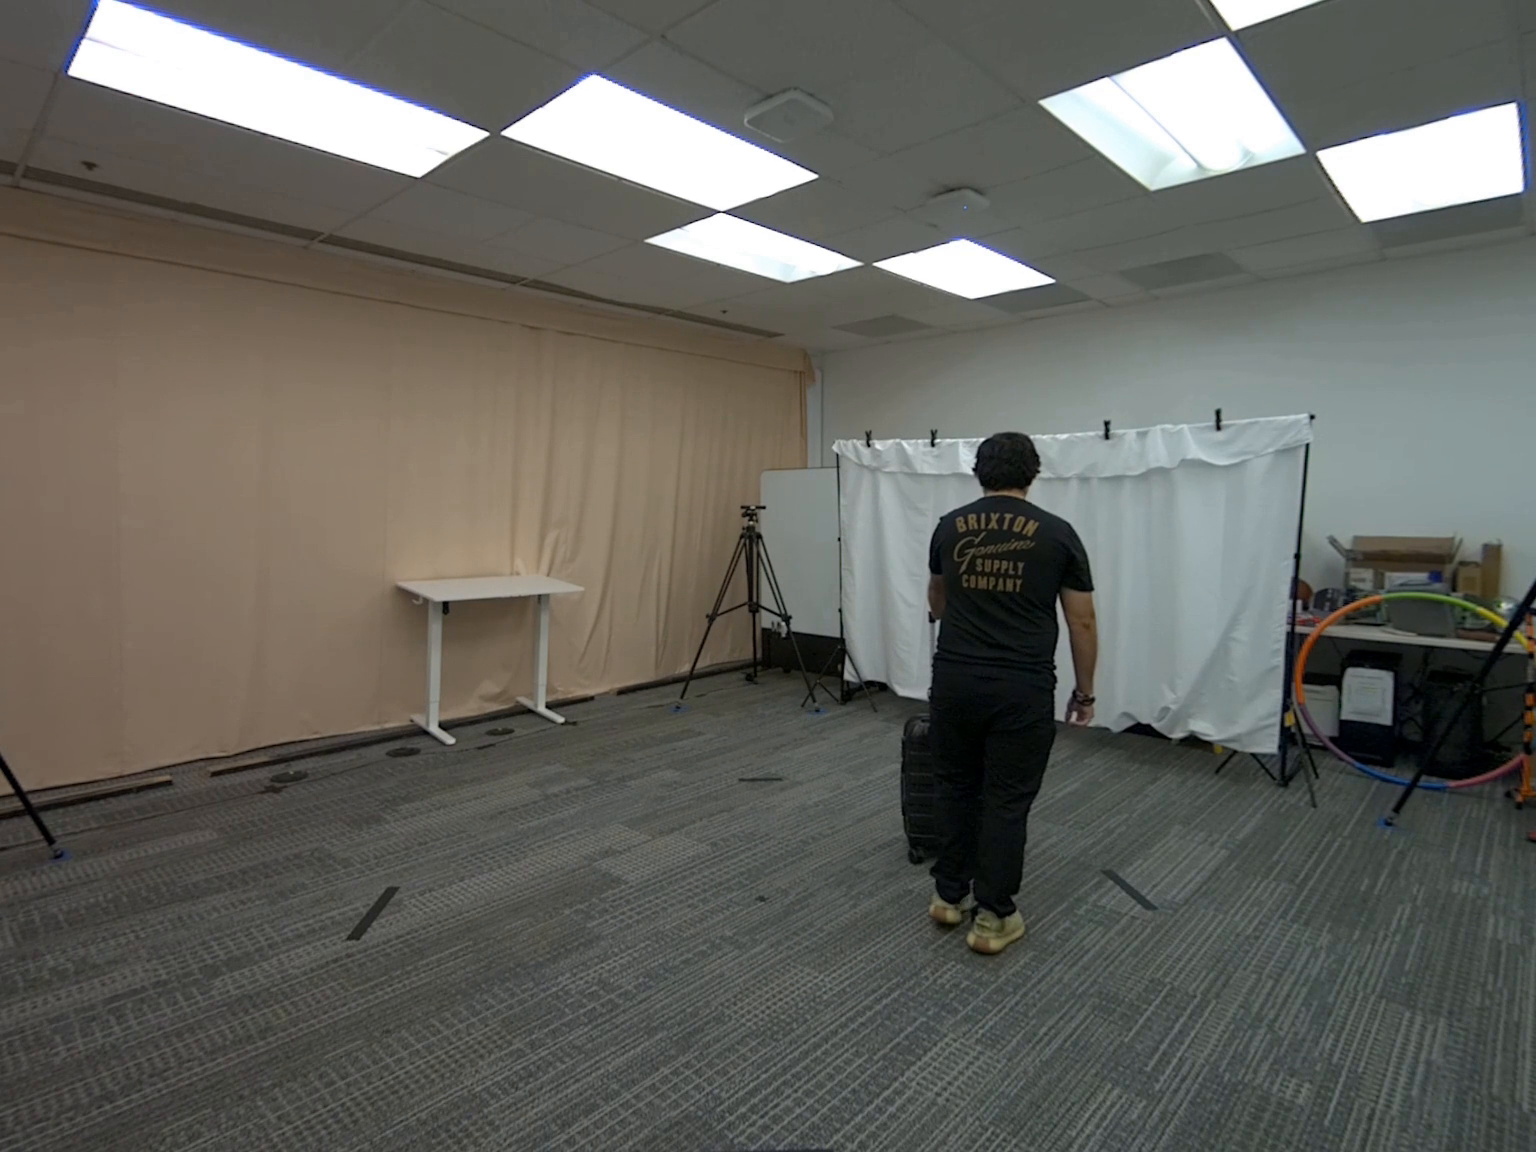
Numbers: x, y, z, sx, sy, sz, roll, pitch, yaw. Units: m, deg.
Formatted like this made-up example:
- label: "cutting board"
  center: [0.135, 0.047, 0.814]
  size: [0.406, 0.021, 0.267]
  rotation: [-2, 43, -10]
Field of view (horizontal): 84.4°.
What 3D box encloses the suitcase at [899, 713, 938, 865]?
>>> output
- label: "suitcase"
  center: [0.732, 0.635, 3.382]
  size: [0.389, 0.980, 0.253]
  rotation: [-1, -3, 11]
